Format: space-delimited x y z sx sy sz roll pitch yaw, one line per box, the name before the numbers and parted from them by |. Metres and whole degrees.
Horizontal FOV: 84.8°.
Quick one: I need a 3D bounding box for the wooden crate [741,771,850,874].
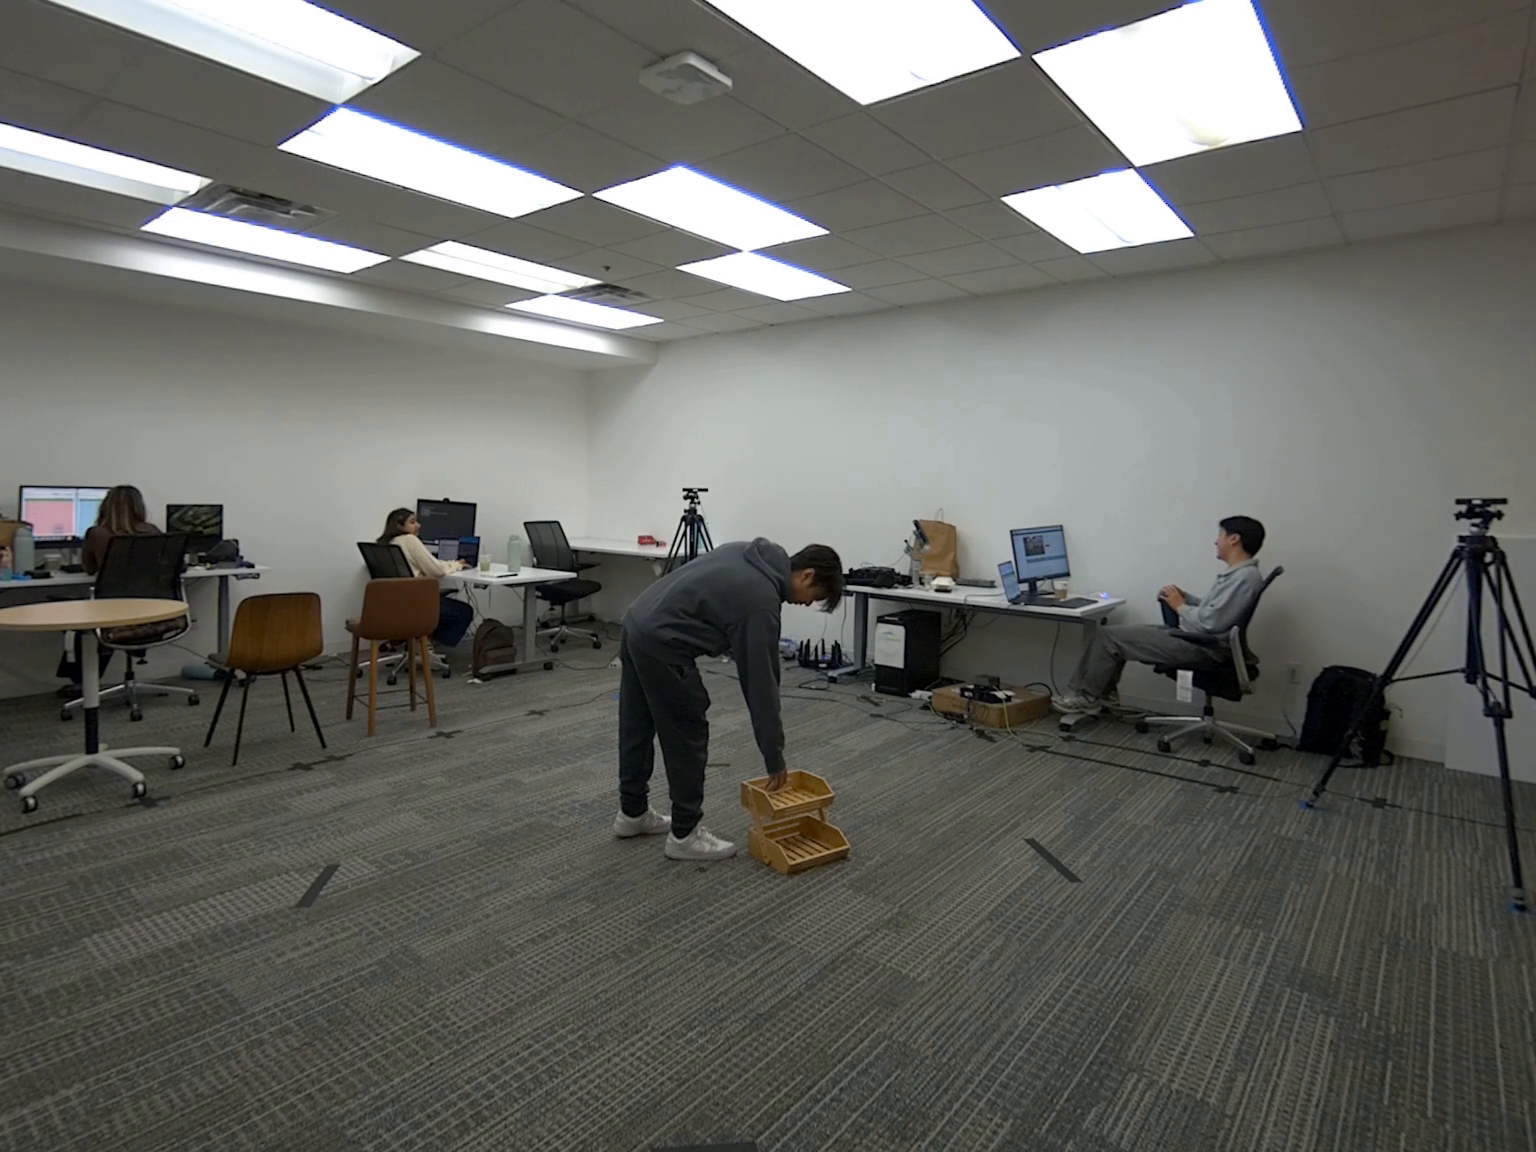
wooden crate | 0.097 0.930 3.256 0.315 0.272 0.312 -2 5 -37
